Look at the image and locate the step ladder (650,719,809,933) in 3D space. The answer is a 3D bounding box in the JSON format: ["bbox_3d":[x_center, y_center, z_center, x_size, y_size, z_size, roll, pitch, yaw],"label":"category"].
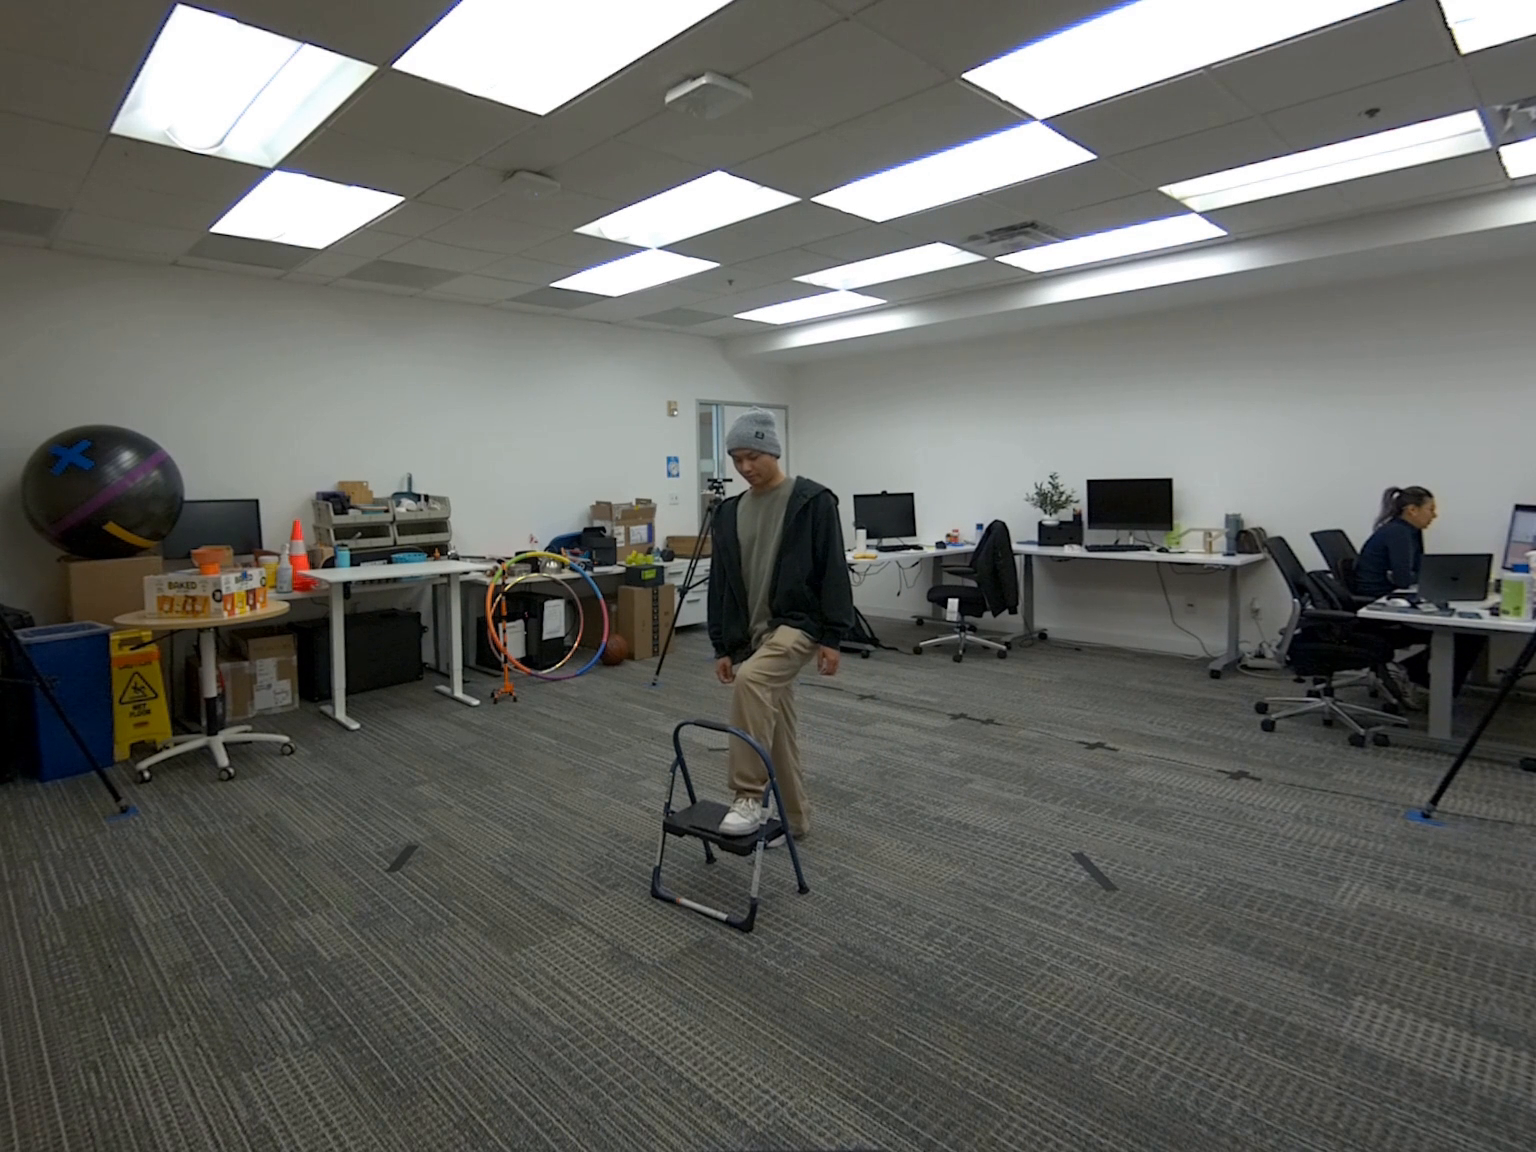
[{"bbox_3d":[-0.137,0.773,2.865,0.443,0.603,0.341,3,6,35],"label":"step ladder"}]
